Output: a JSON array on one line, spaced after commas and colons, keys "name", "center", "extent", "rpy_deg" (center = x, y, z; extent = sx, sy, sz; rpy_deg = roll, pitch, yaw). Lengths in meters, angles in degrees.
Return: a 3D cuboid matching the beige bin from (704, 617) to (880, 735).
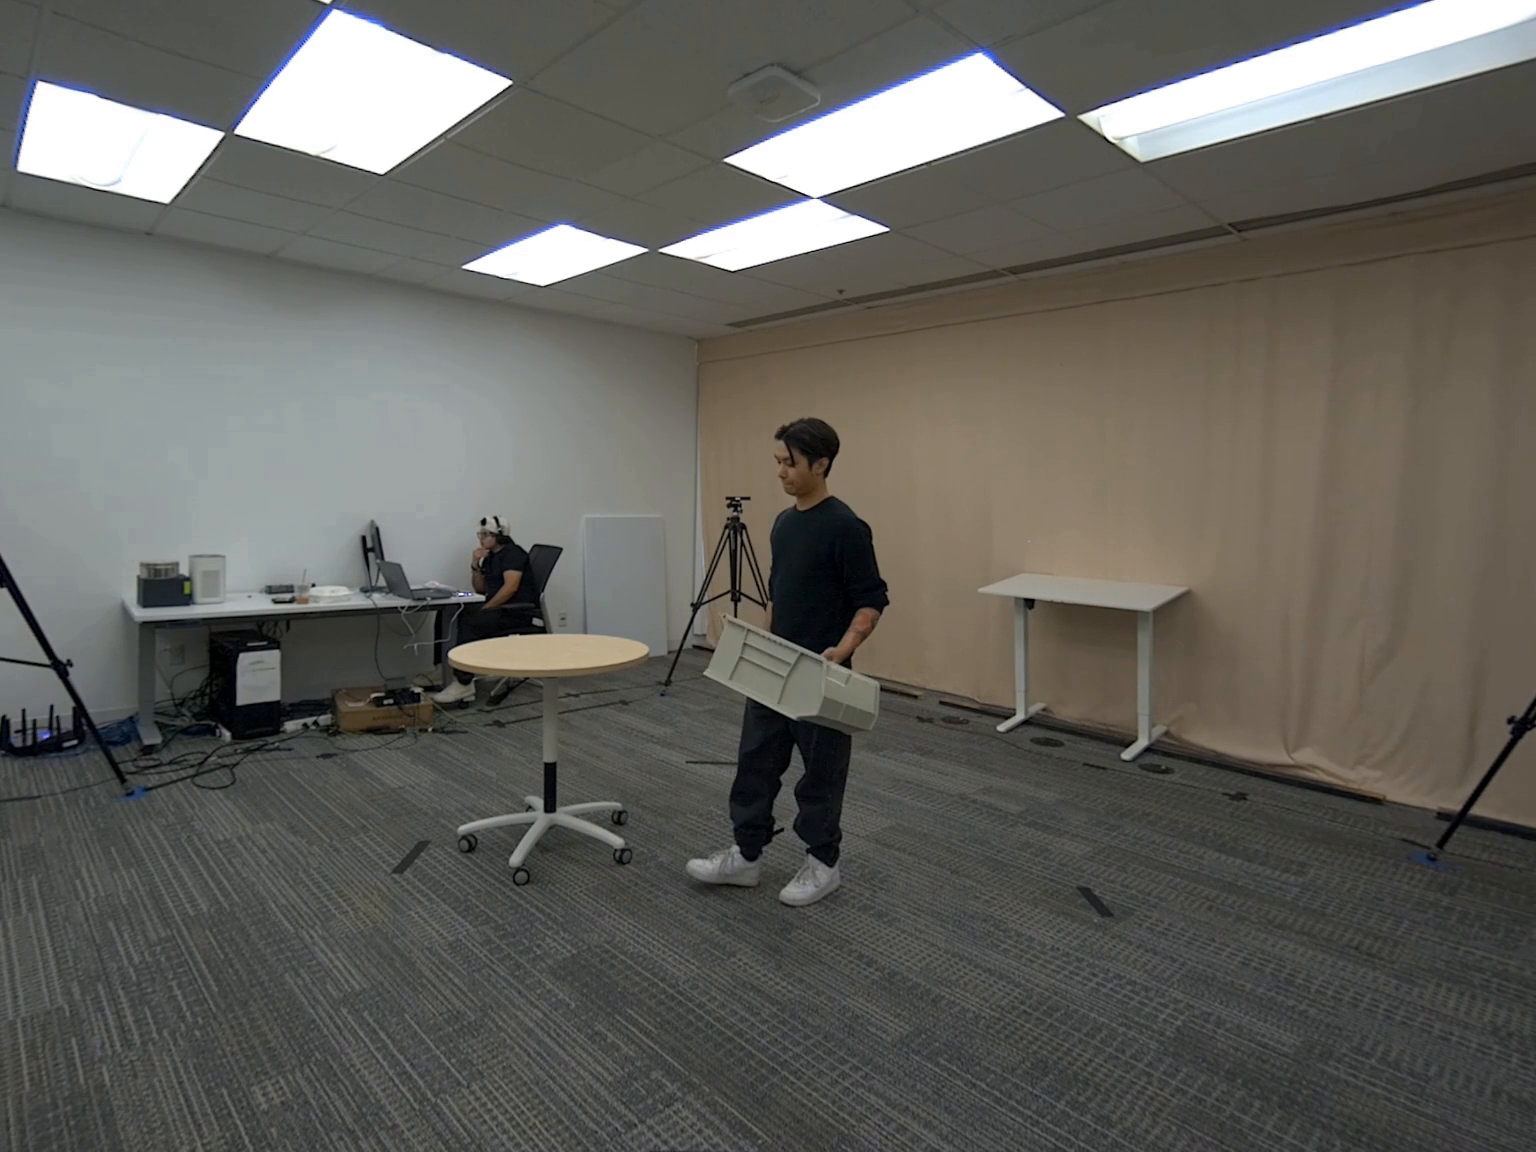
[{"name": "beige bin", "center": [0.074, 0.297, 2.423], "extent": [0.388, 0.189, 0.410], "rpy_deg": [20, -5, 33]}]
